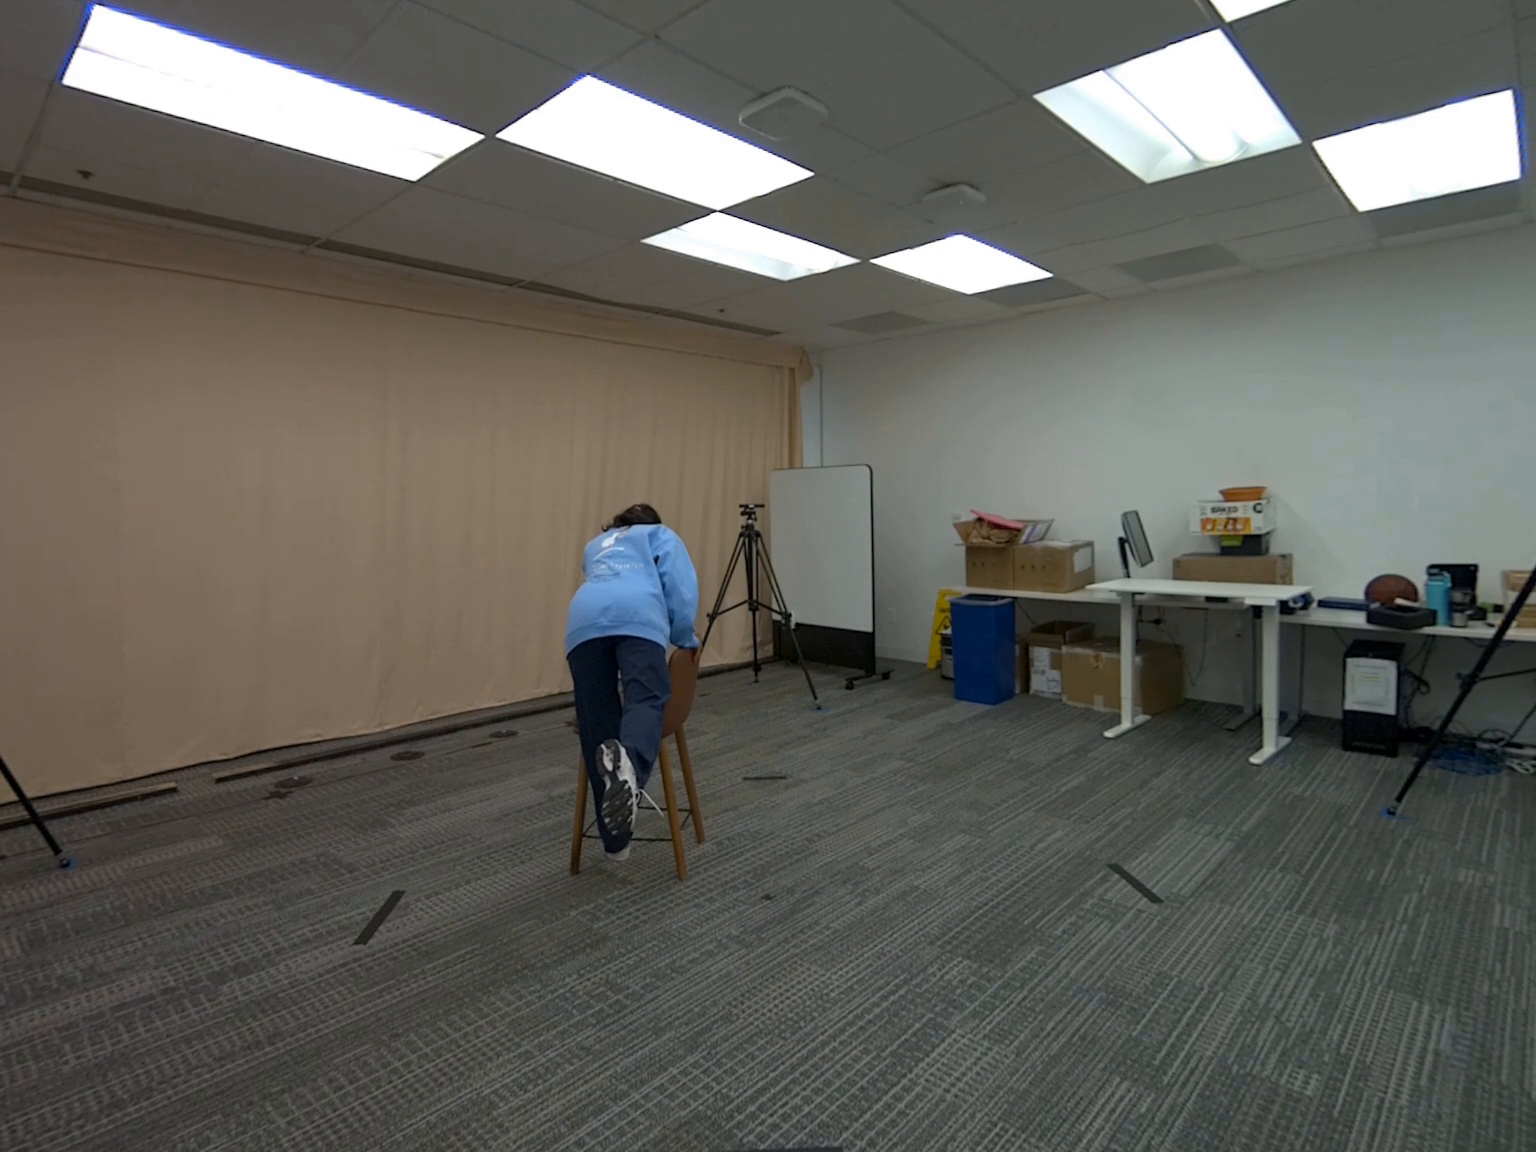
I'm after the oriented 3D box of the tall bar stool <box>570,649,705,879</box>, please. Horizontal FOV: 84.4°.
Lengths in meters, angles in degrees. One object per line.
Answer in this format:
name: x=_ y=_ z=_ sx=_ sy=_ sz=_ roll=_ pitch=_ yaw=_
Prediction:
tall bar stool: x=-0.513 y=0.686 z=3.344 sx=0.473 sy=0.888 sz=0.452 roll=1 pitch=3 yaw=10
